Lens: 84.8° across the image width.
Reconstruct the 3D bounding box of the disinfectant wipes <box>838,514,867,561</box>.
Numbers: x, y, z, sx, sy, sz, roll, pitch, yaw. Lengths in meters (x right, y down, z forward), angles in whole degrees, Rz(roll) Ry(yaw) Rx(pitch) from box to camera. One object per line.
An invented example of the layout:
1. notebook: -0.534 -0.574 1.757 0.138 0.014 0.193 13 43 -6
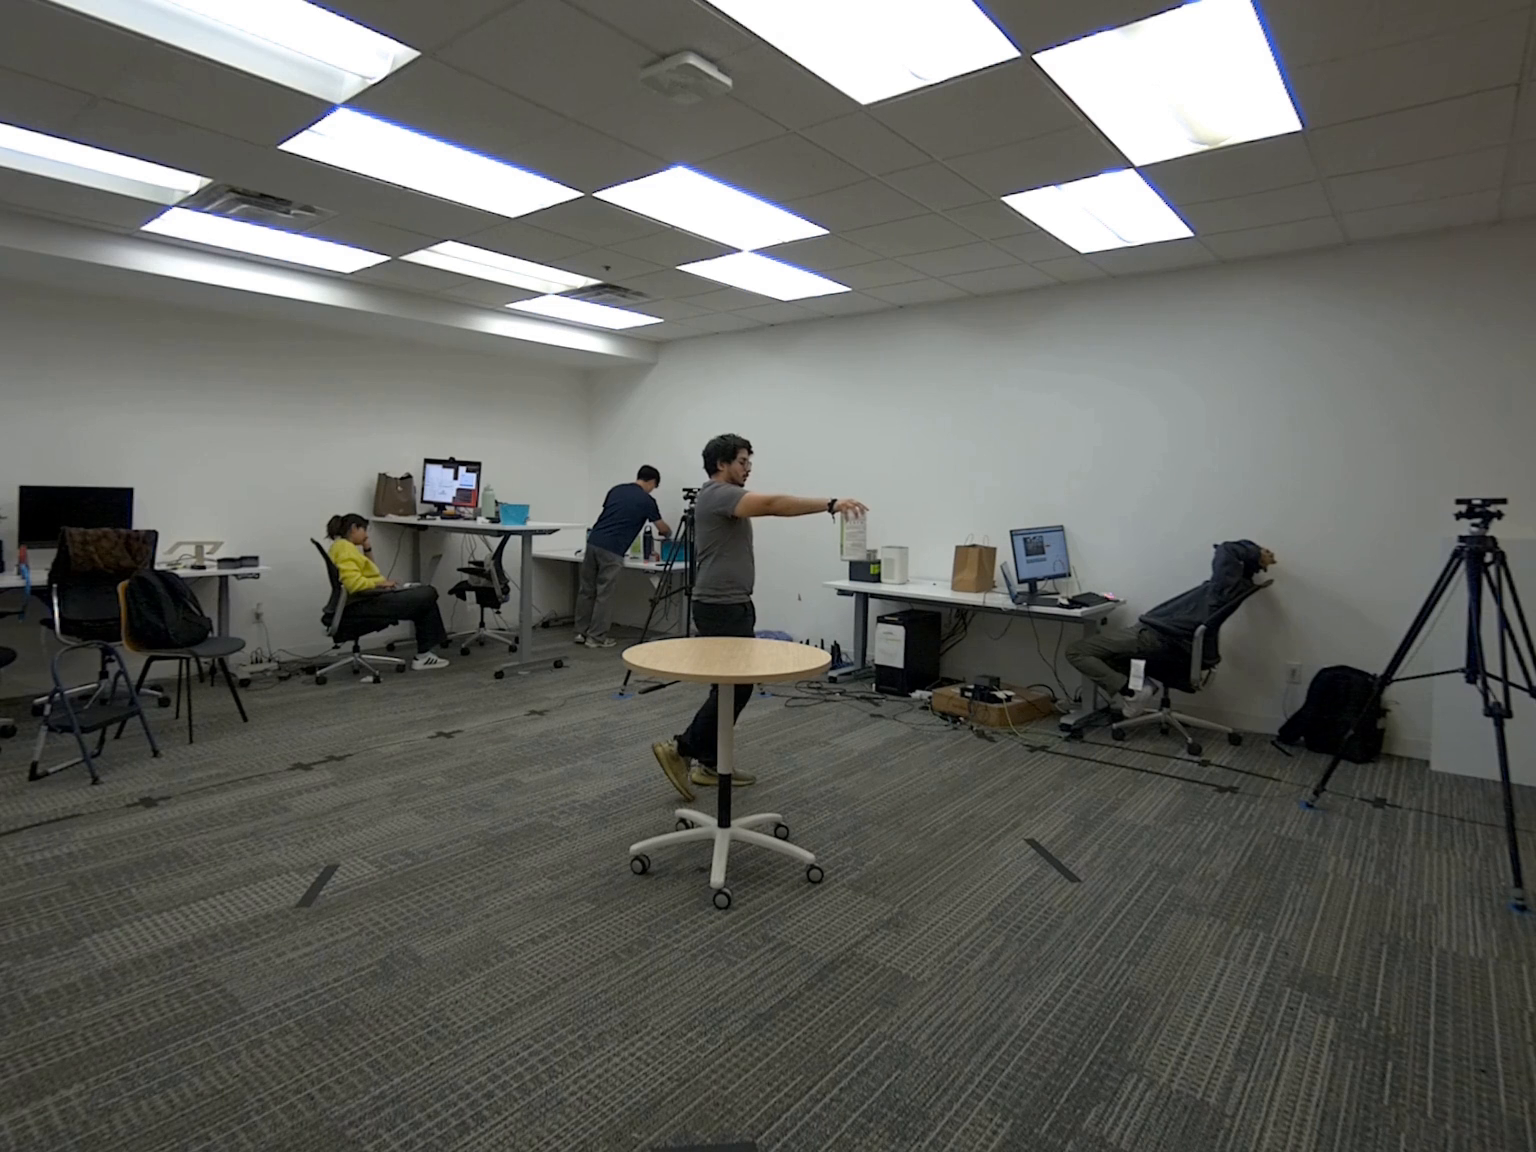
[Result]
1. disinfectant wipes: 0.351 -0.172 3.568 0.118 0.218 0.118 -1 -1 -2
